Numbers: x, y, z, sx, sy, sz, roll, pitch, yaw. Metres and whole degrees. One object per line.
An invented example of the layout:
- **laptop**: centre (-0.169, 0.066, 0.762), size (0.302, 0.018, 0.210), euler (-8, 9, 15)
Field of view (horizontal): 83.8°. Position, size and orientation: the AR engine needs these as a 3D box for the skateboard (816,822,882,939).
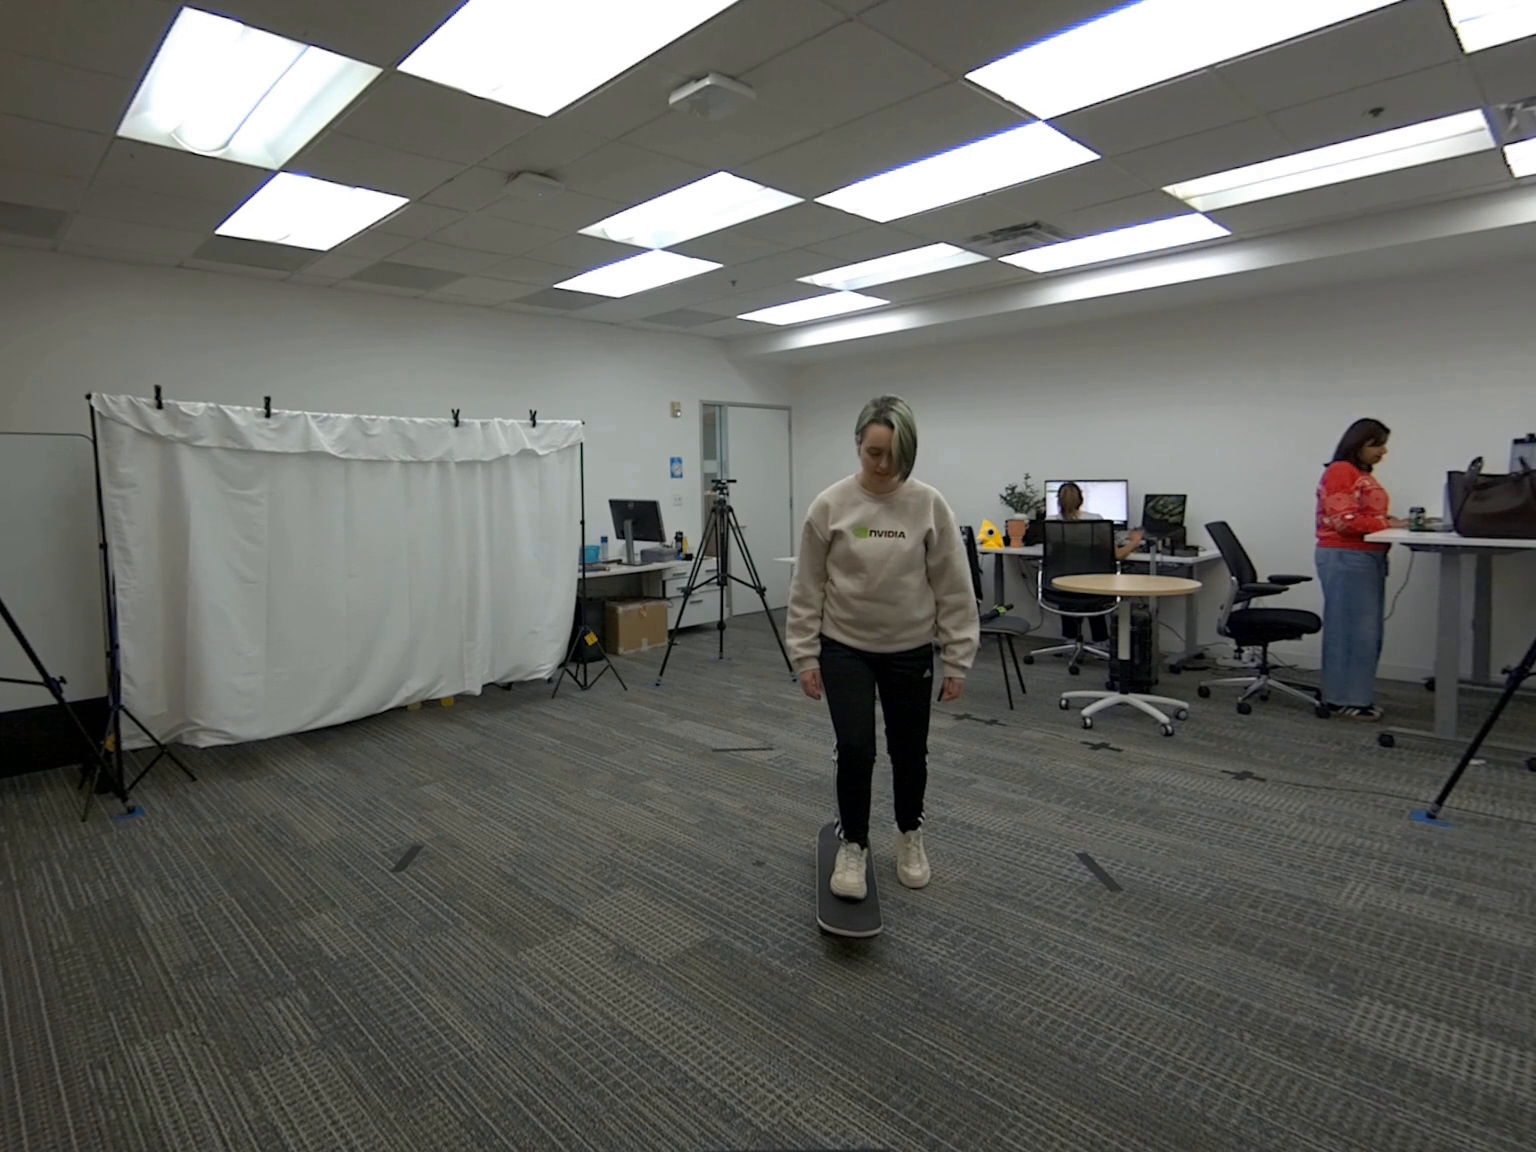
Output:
- **skateboard**: centre (0.260, 1.021, 2.823), size (0.194, 0.110, 0.786), euler (1, 6, 2)
